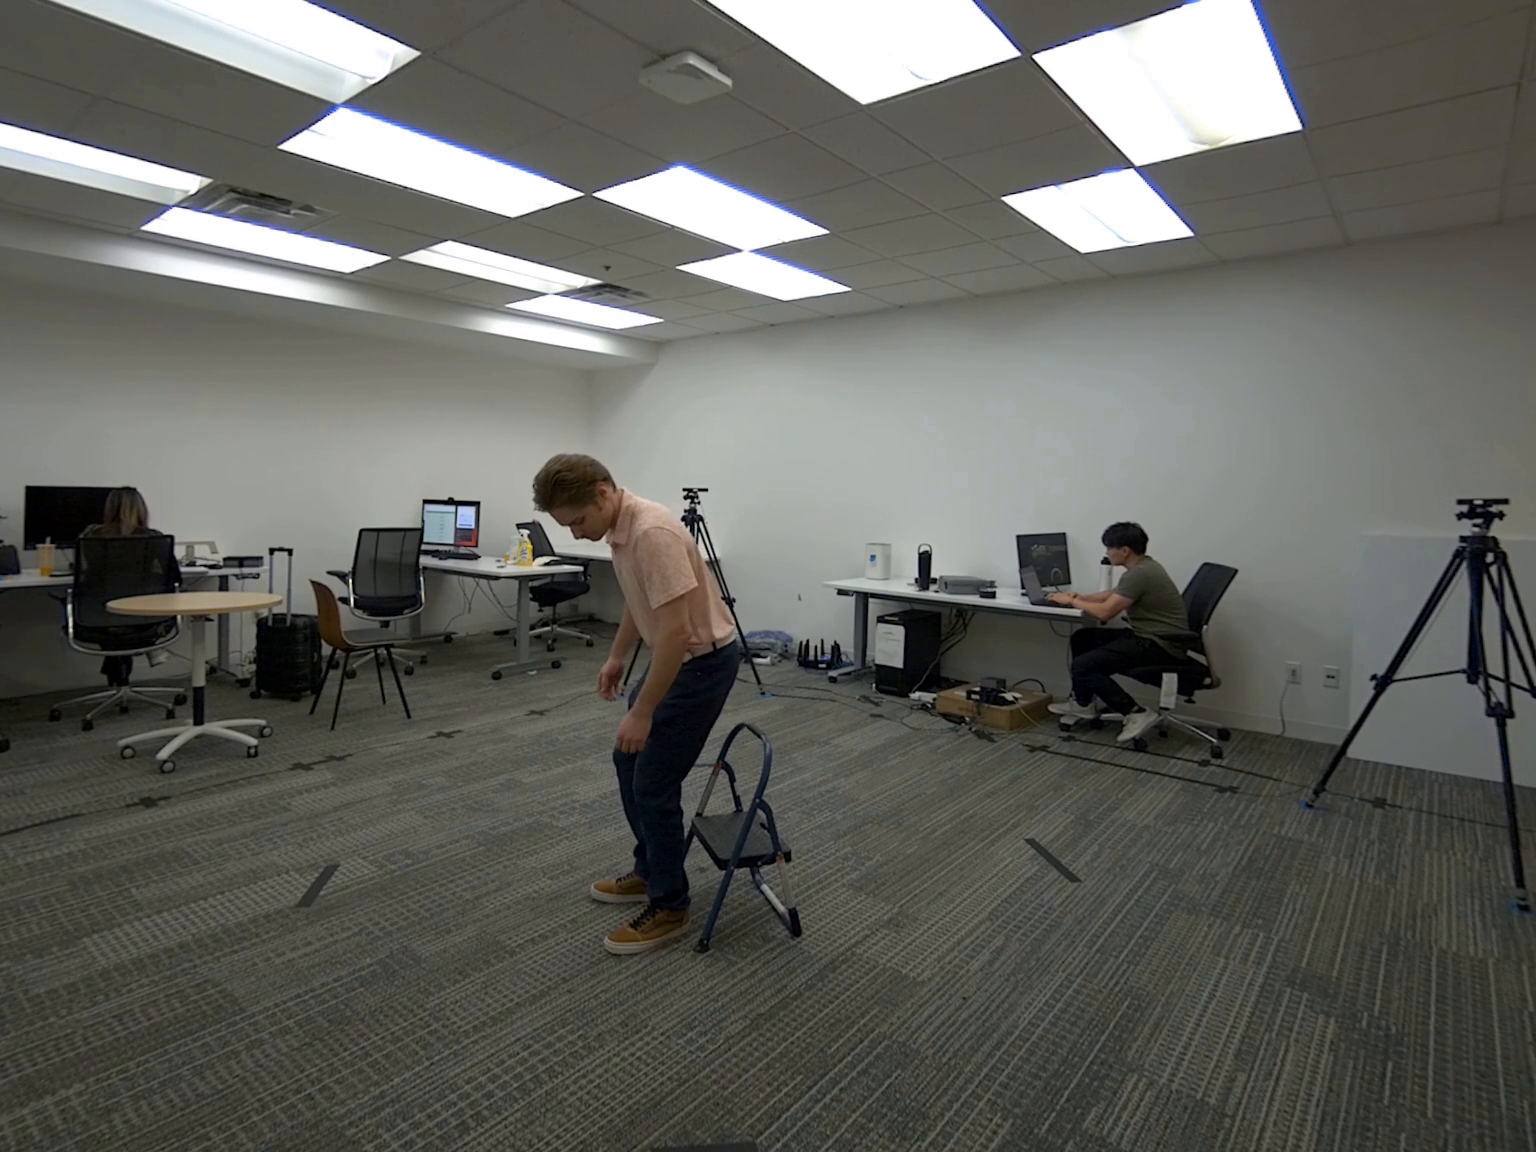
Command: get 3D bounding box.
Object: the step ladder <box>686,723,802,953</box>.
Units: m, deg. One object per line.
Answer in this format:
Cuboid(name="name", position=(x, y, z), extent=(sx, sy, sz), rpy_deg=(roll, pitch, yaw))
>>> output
Cuboid(name="step ladder", position=(-0.125, 0.806, 2.776), extent=(0.342, 0.604, 0.441), rpy_deg=(-1, 4, -20))
